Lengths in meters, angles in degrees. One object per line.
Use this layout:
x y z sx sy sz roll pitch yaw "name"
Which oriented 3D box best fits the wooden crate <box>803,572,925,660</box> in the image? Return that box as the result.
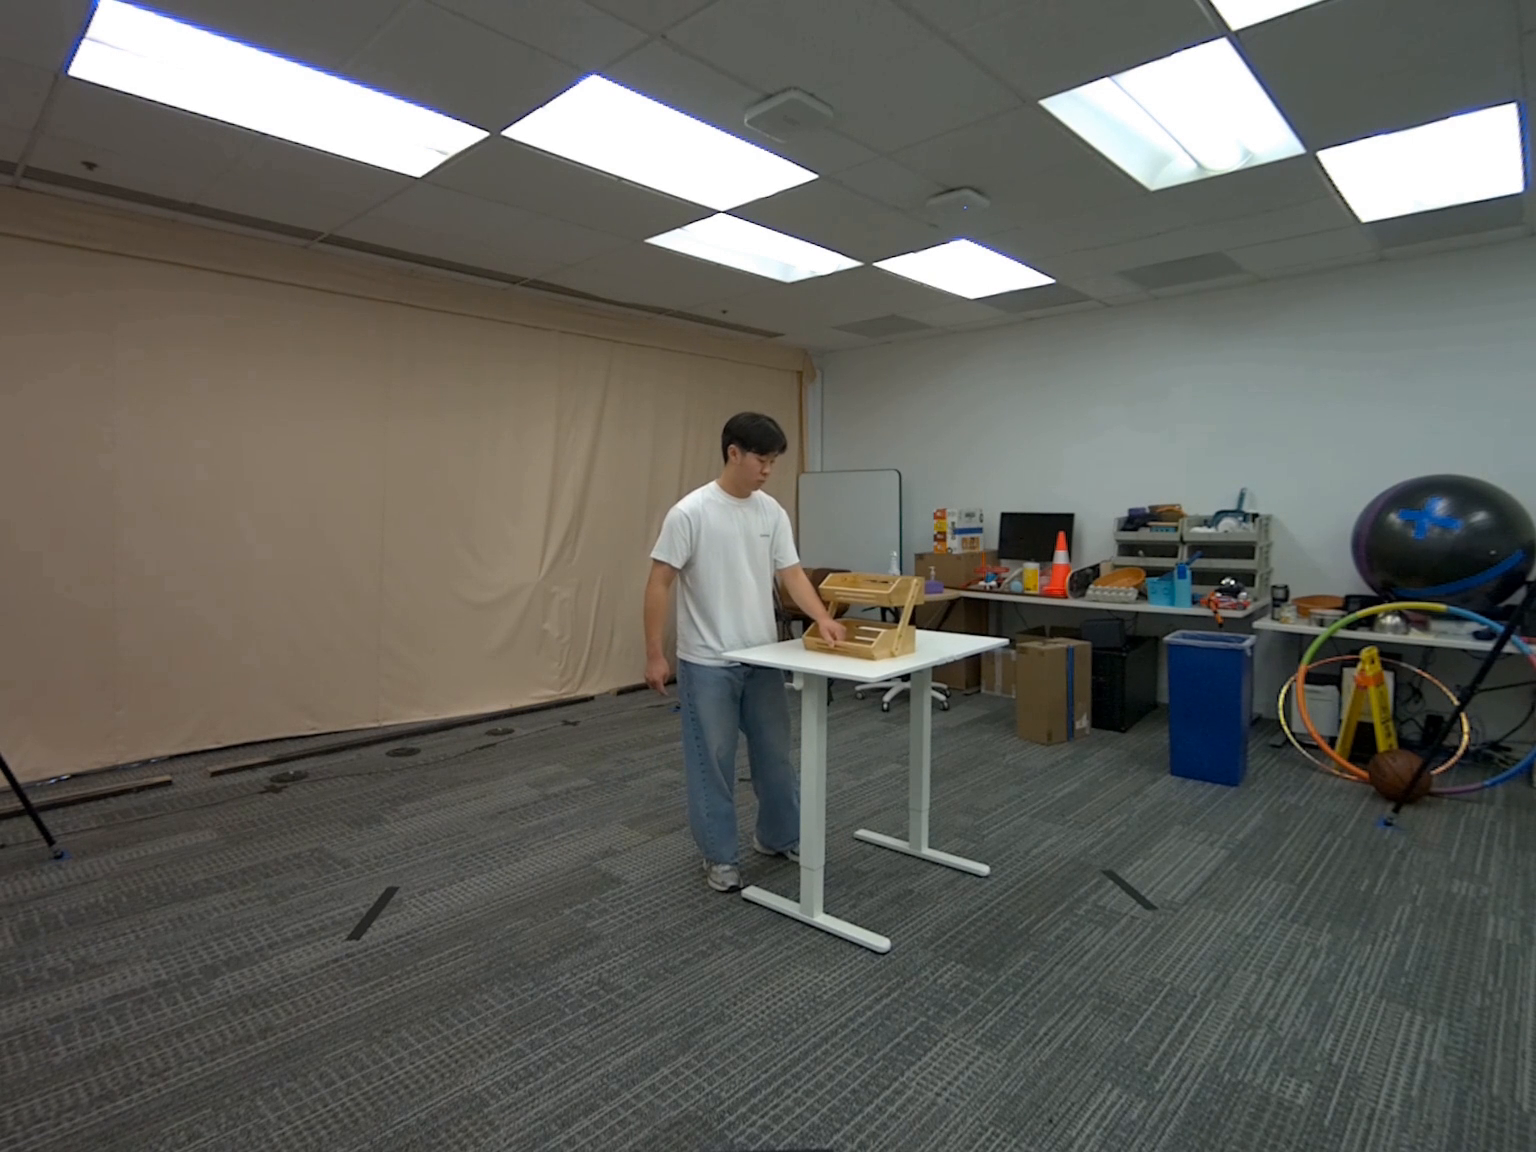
0.337 0.130 2.941 0.335 0.273 0.292 4 4 44 "wooden crate"
